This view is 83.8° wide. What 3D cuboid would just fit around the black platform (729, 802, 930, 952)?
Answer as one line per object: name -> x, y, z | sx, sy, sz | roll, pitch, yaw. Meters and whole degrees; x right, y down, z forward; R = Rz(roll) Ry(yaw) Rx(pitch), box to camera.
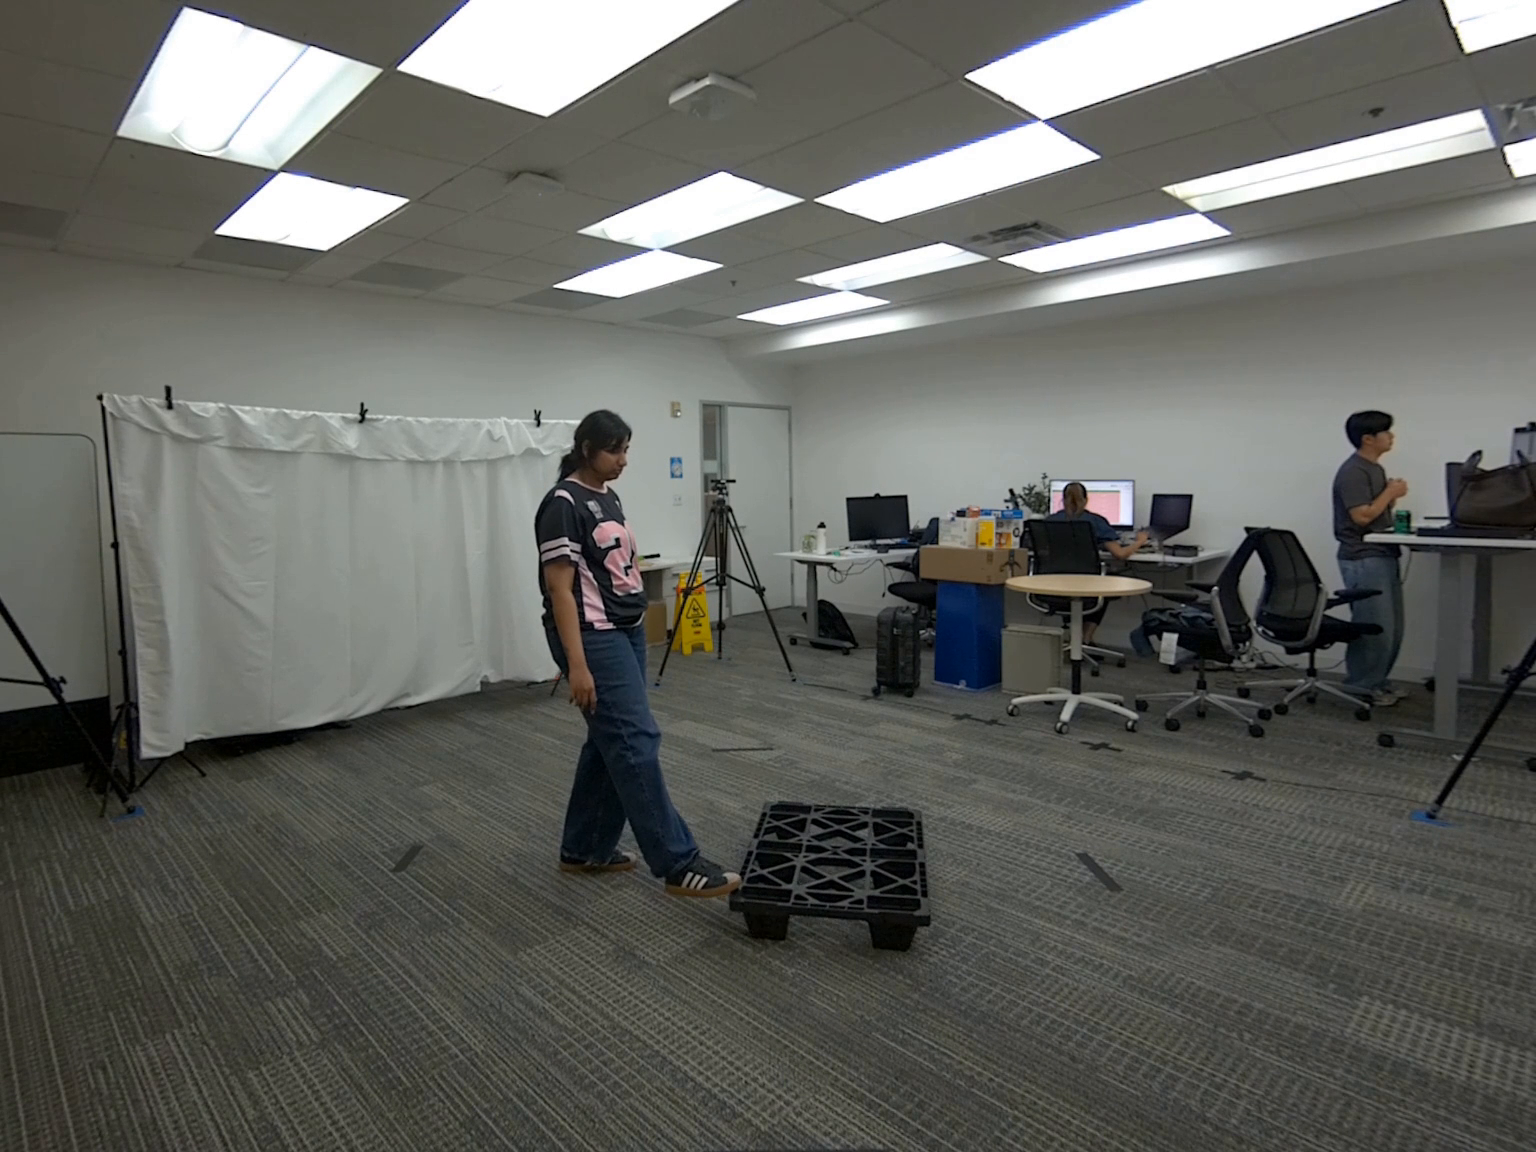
black platform -> 0.226, 0.992, 2.911 | 0.611, 0.143, 0.801 | 0, 6, 9
